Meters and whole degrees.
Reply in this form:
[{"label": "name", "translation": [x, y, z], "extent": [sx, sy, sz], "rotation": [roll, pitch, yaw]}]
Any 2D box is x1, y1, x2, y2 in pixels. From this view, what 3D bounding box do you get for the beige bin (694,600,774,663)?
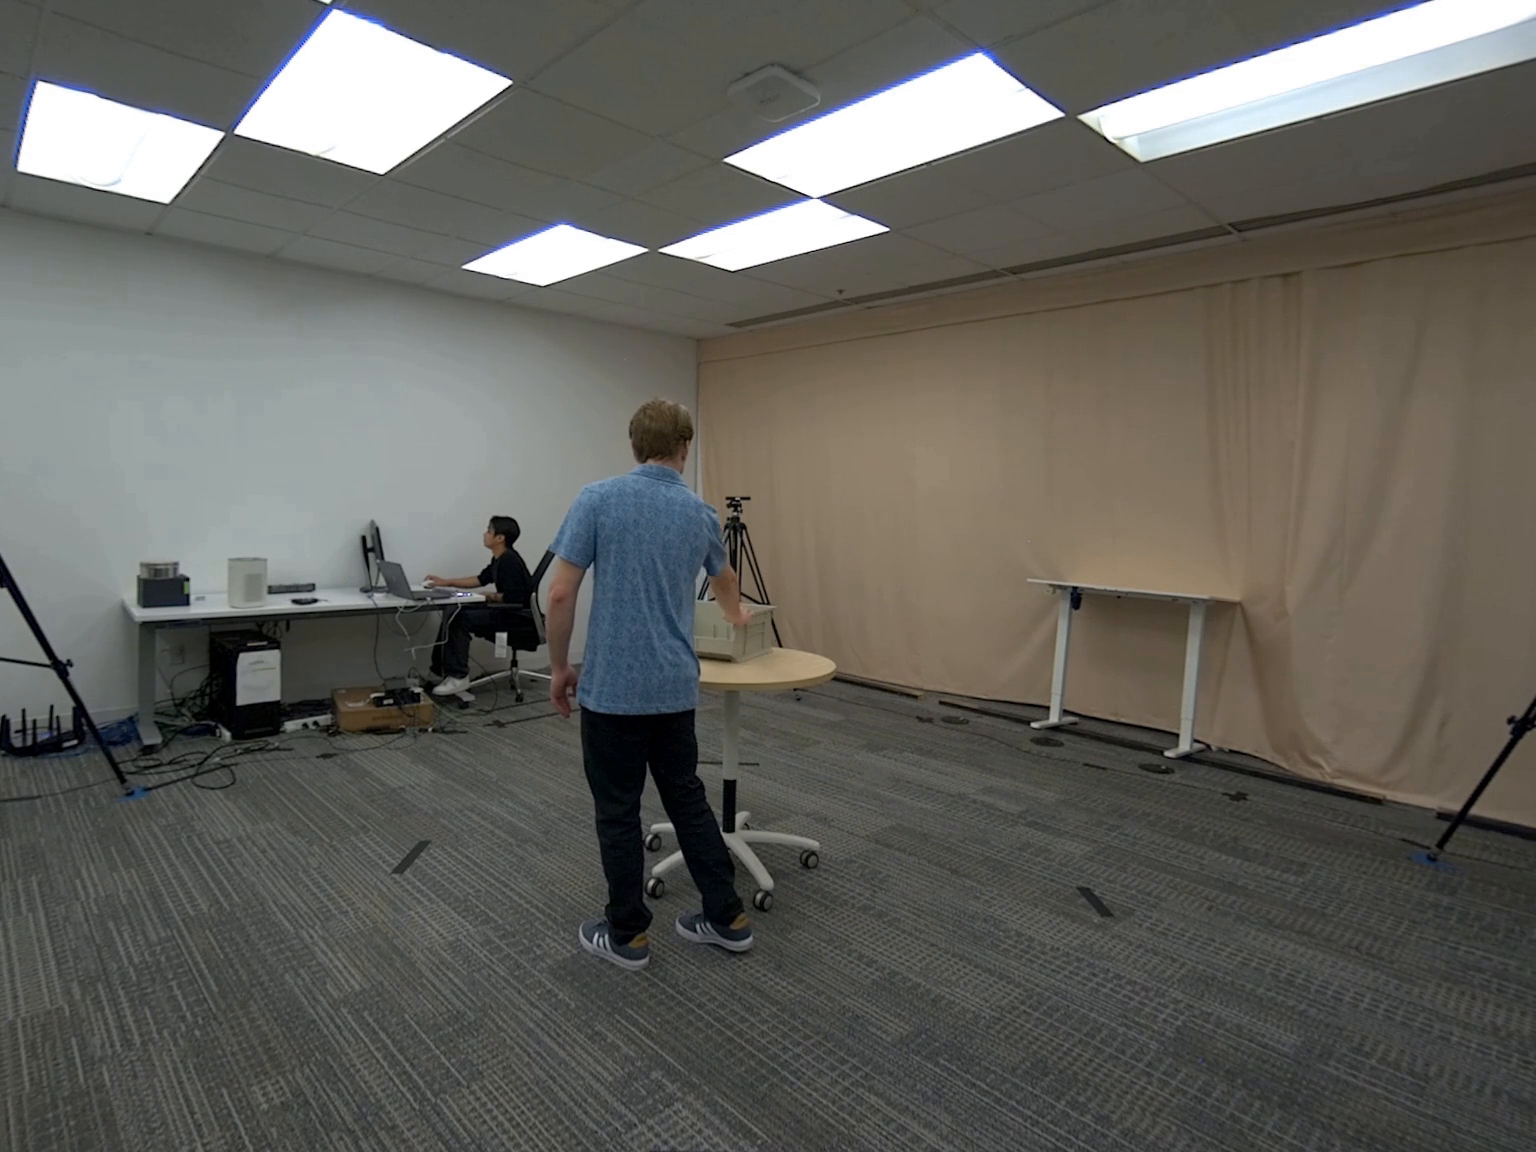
[{"label": "beige bin", "translation": [-0.238, 0.214, 3.329], "extent": [0.431, 0.189, 0.370], "rotation": [2, 3, 28]}]
